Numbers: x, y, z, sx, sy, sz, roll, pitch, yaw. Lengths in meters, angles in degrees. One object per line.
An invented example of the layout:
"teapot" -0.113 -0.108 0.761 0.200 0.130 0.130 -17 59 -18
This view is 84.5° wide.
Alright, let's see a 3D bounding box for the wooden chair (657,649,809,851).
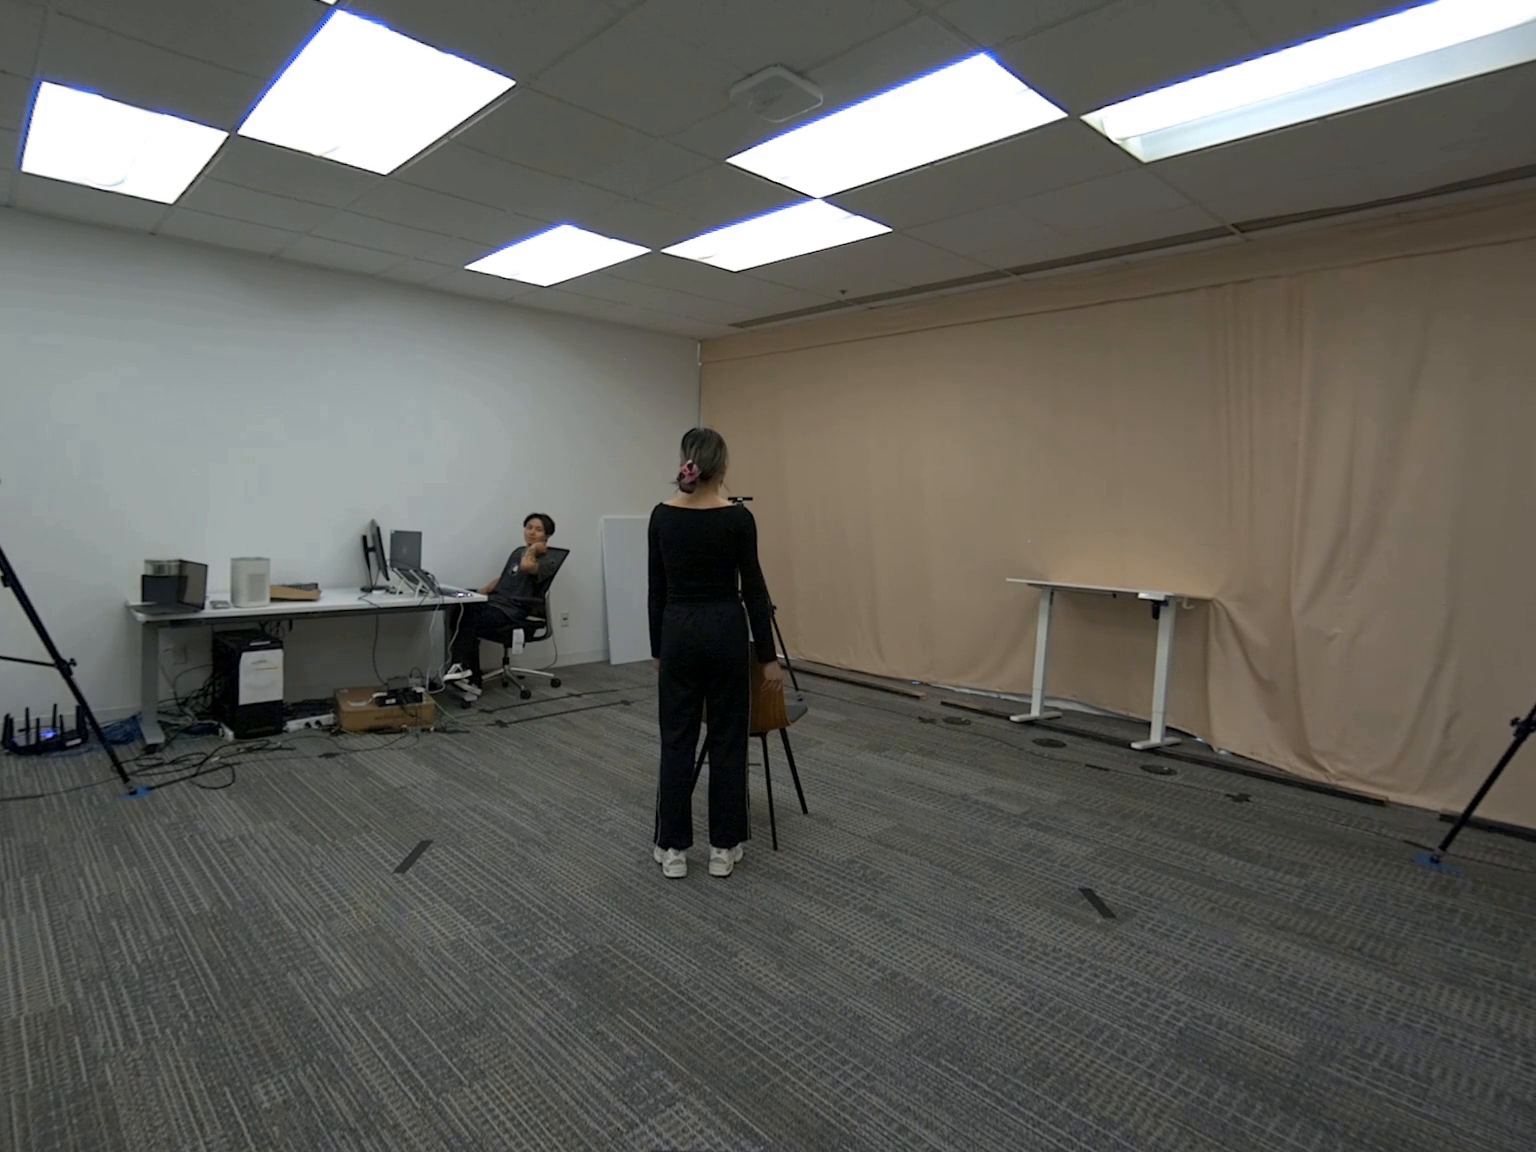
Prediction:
"wooden chair" -0.103 0.637 3.603 0.486 0.872 0.517 2 8 20
